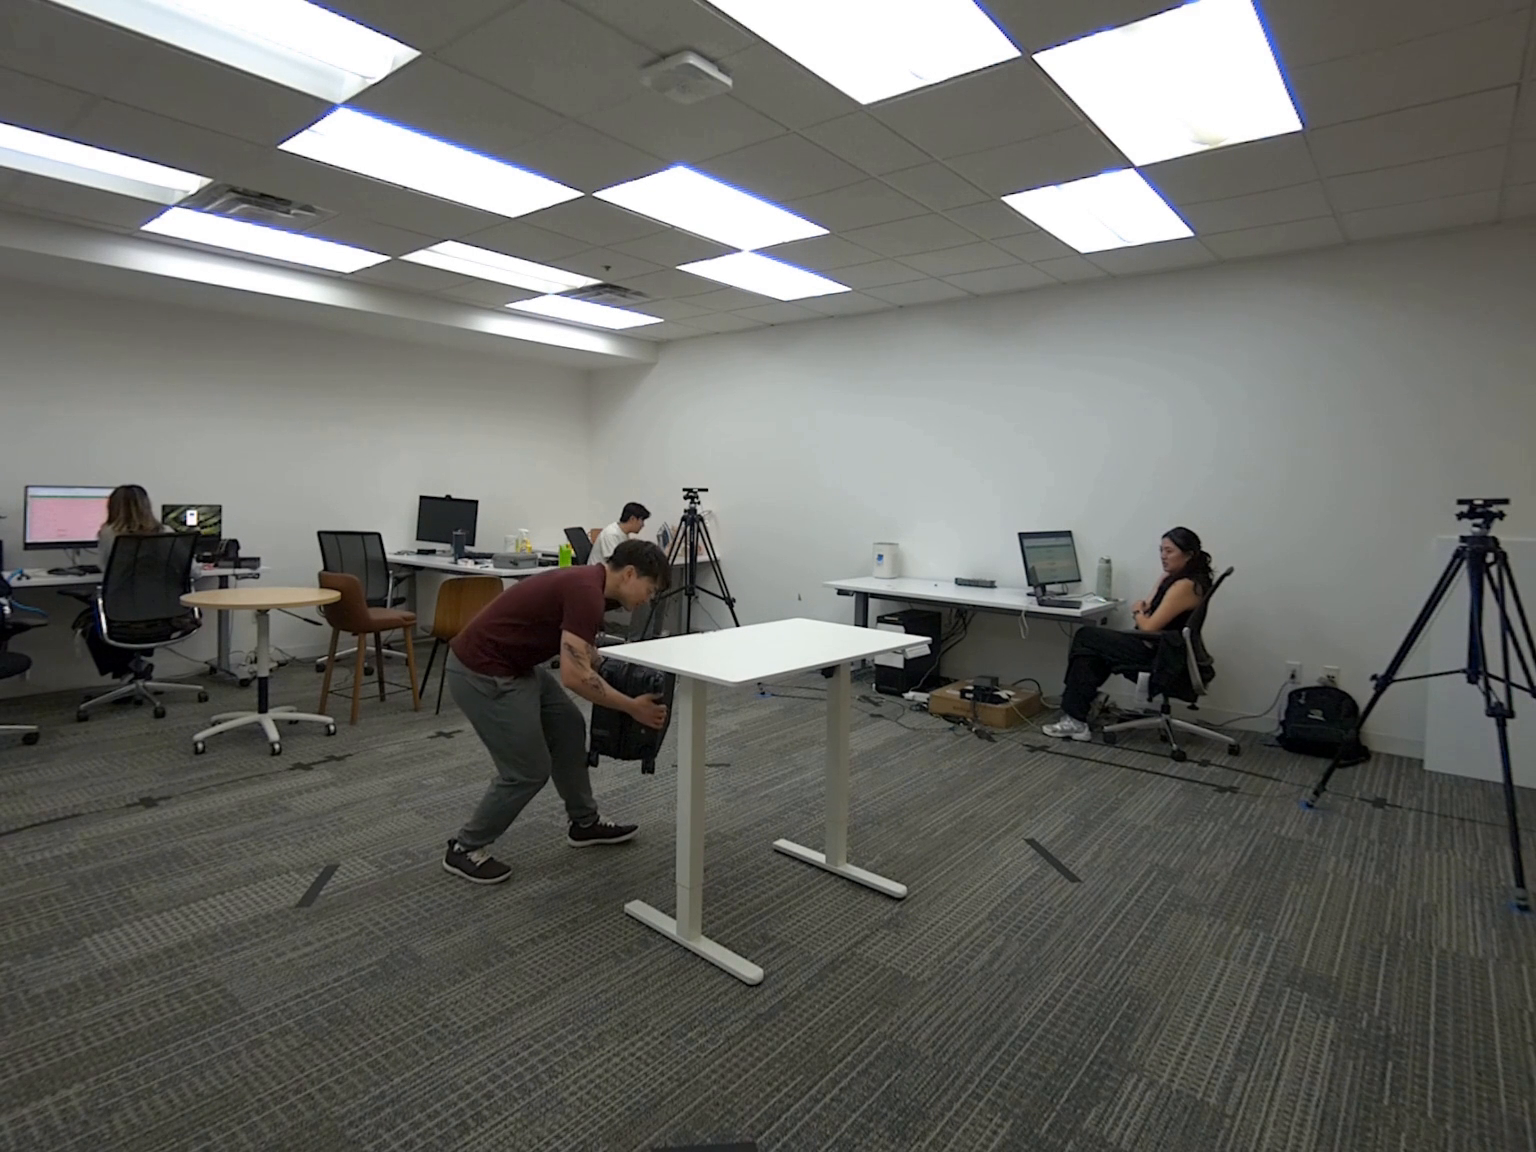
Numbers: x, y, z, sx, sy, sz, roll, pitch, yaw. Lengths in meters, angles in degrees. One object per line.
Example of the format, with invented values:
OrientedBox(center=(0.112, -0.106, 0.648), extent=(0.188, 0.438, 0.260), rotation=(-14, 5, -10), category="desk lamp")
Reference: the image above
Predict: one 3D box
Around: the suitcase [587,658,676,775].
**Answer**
OrientedBox(center=(-0.502, 0.439, 3.442), extent=(0.257, 0.382, 0.983), rotation=(6, 6, -2), category="suitcase")
